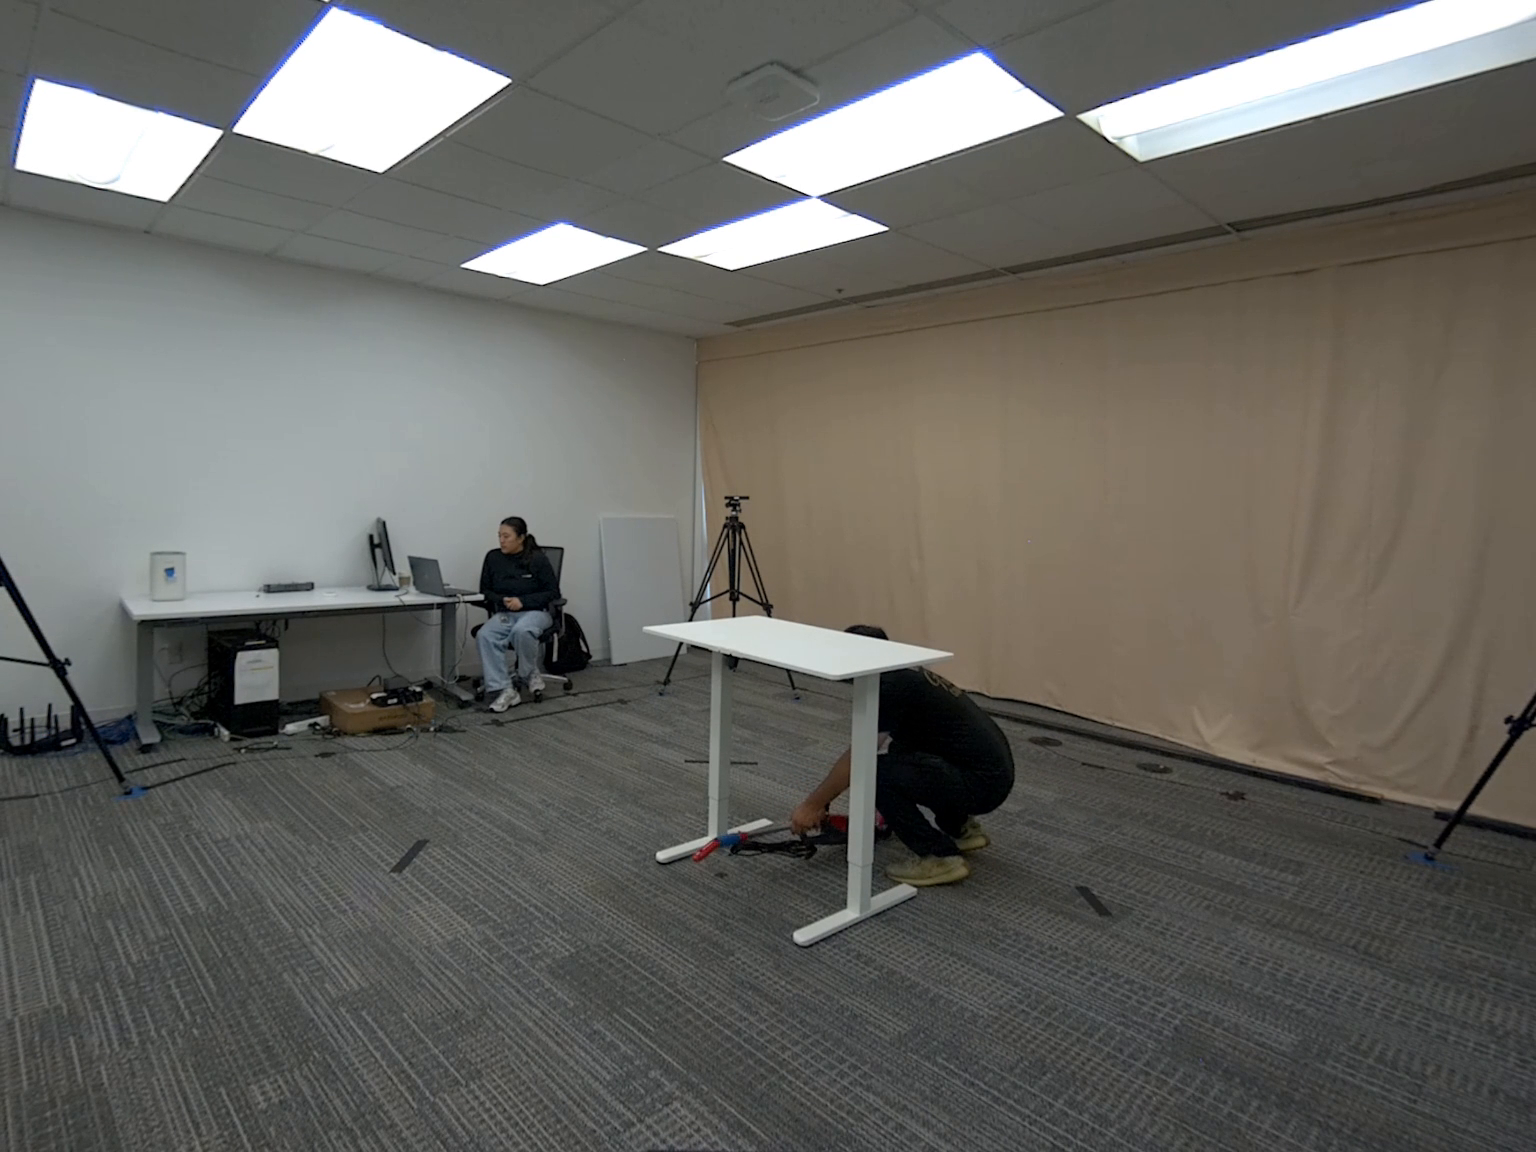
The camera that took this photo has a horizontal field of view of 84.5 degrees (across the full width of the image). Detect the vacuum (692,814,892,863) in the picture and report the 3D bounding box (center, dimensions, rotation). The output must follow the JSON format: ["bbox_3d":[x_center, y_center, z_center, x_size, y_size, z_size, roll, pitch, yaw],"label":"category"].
[{"bbox_3d":[0.107,0.988,3.176,1.023,0.143,0.260,2,9,-44],"label":"vacuum"}]
